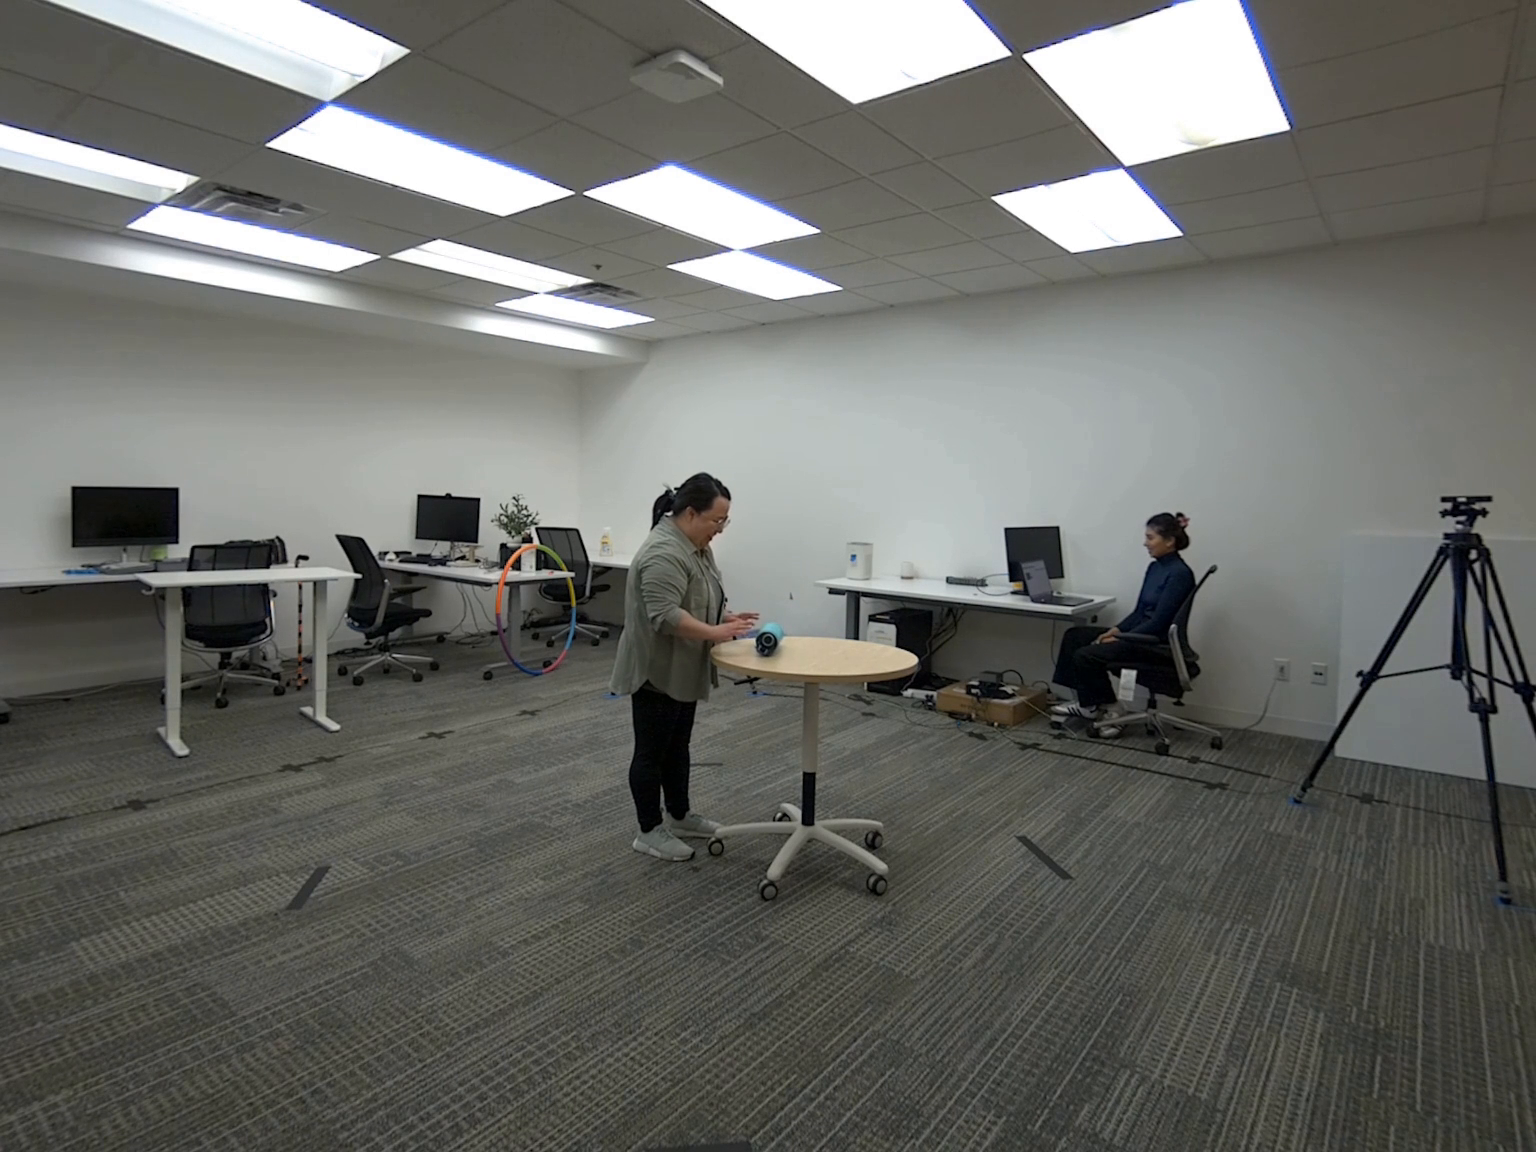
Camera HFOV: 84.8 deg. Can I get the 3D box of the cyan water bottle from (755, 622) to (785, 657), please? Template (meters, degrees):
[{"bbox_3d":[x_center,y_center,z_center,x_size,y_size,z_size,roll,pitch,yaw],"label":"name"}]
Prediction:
[{"bbox_3d":[-0.007,0.235,3.196,0.093,0.092,0.282,1,4,5],"label":"cyan water bottle"}]
